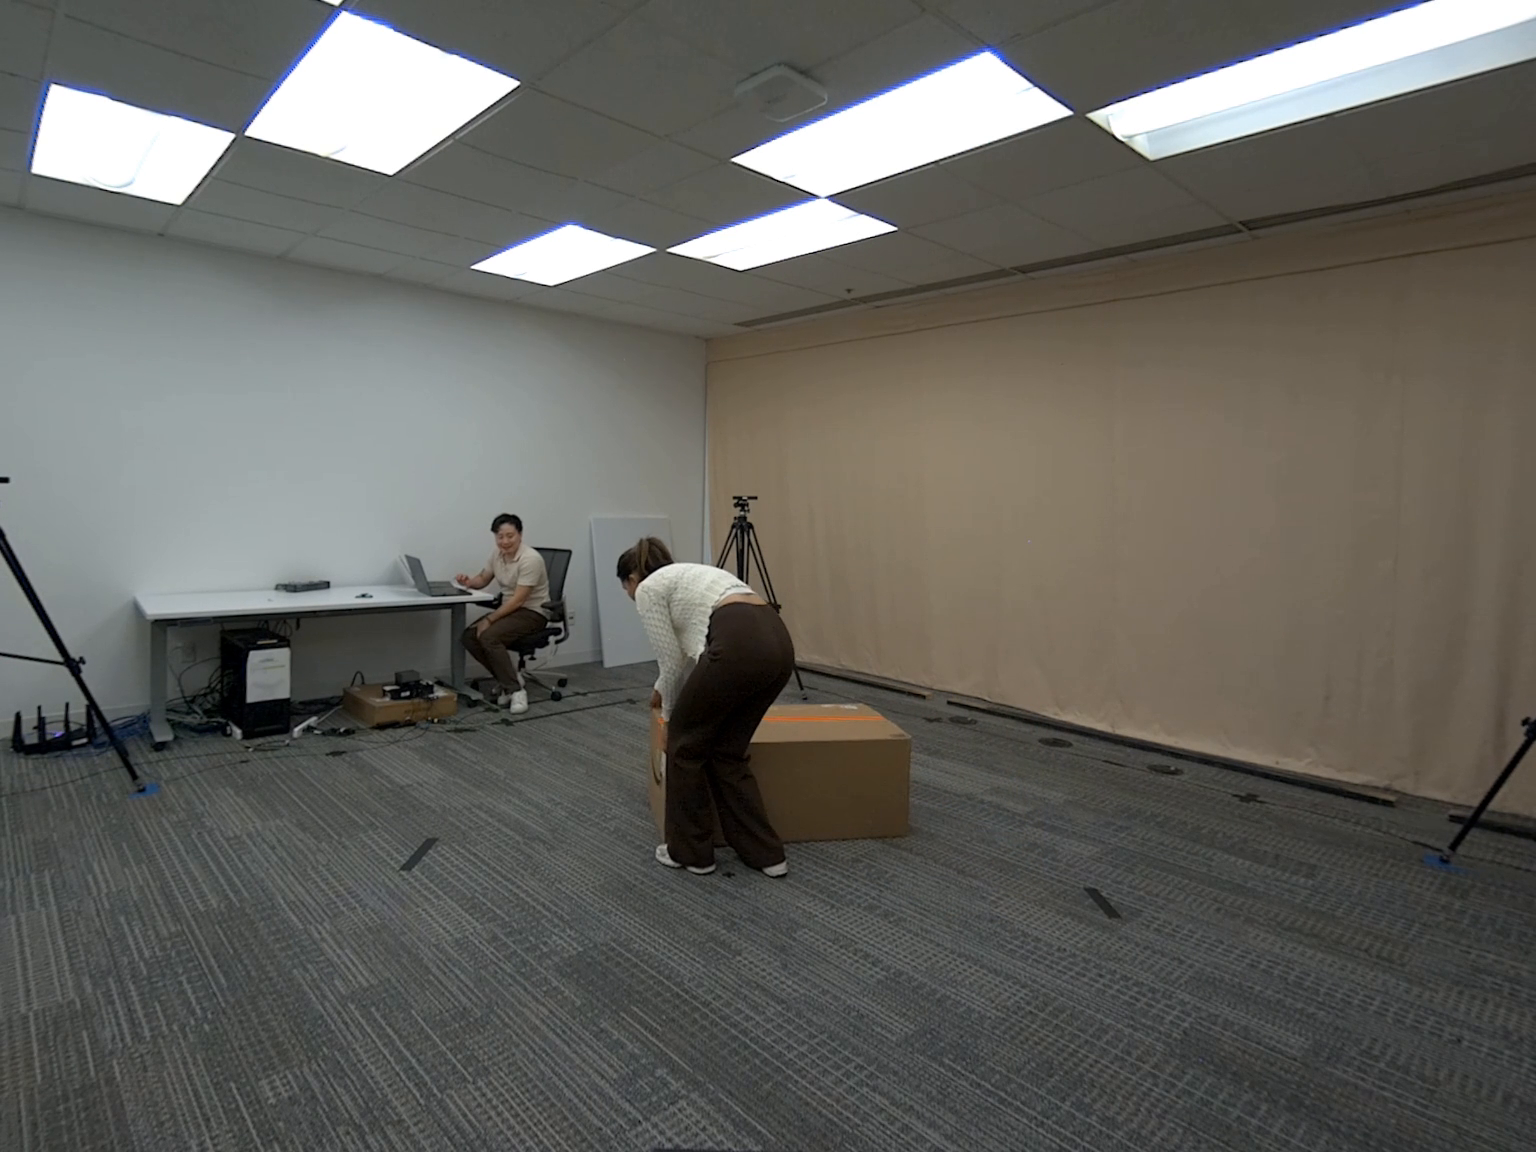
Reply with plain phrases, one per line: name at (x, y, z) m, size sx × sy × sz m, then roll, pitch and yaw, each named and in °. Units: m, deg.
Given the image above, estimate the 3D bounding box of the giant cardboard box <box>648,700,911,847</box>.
giant cardboard box at (0.021, 0.827, 3.671) m, size 1.016 × 0.425 × 0.585 m, roll 1°, pitch 4°, yaw -12°
